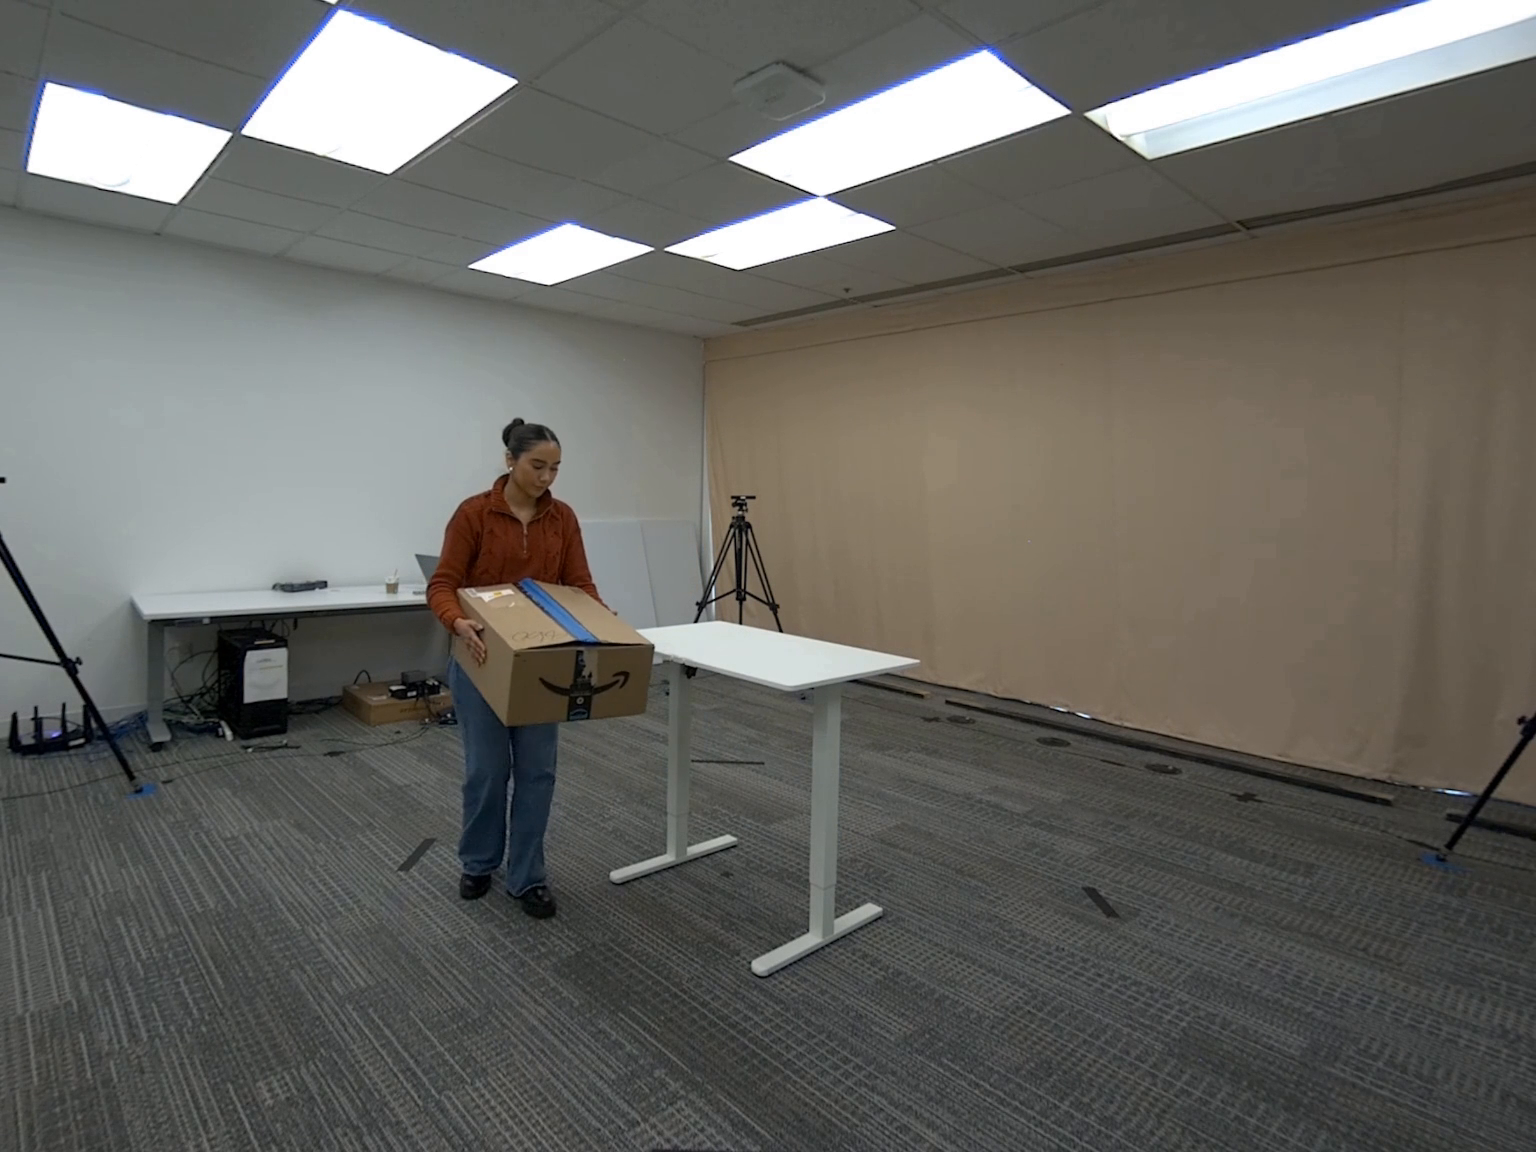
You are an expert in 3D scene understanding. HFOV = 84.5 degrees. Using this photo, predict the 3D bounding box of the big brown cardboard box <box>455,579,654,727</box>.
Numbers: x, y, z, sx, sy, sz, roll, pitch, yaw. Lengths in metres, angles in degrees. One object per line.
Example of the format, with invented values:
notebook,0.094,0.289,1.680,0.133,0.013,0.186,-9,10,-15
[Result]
big brown cardboard box,-0.678,0.221,2.531,0.408,0.231,0.607,-1,17,-34
